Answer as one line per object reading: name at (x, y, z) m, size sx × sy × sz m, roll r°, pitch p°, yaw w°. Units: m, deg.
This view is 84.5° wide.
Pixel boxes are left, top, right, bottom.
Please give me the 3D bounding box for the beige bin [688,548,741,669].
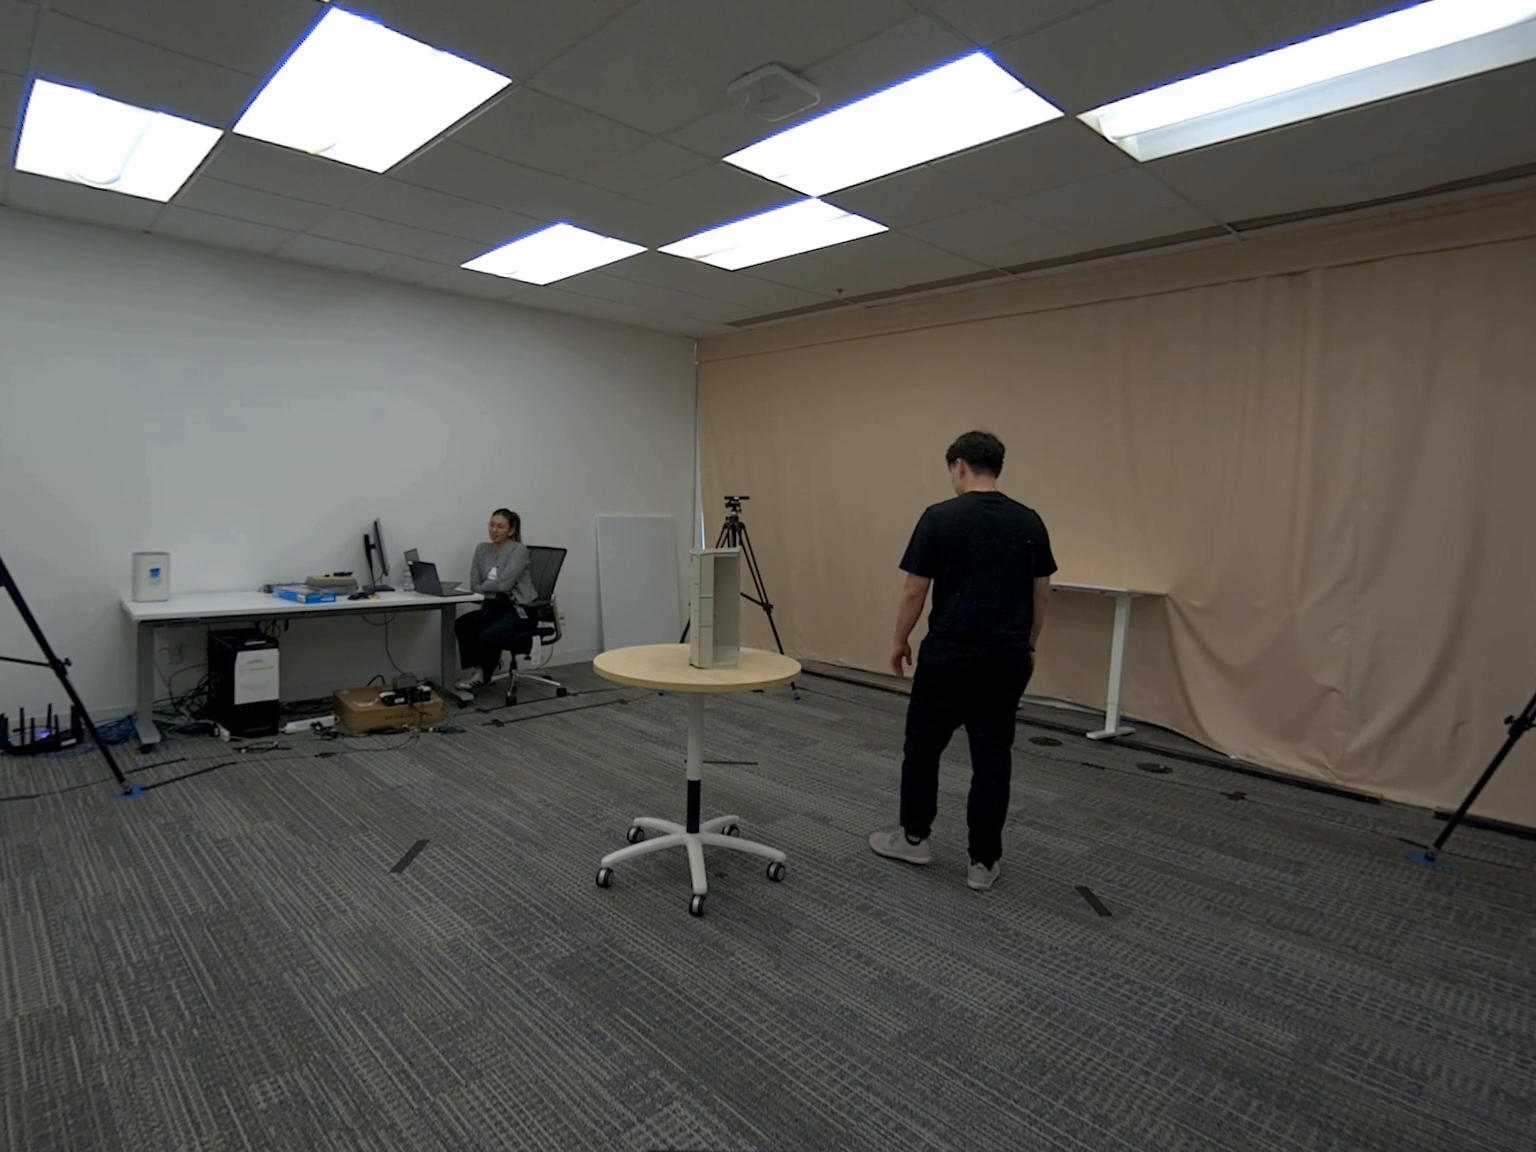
beige bin at (-0.190, 0.106, 3.153) m, size 0.189 × 0.421 × 0.377 m, roll 1°, pitch 3°, yaw 2°
